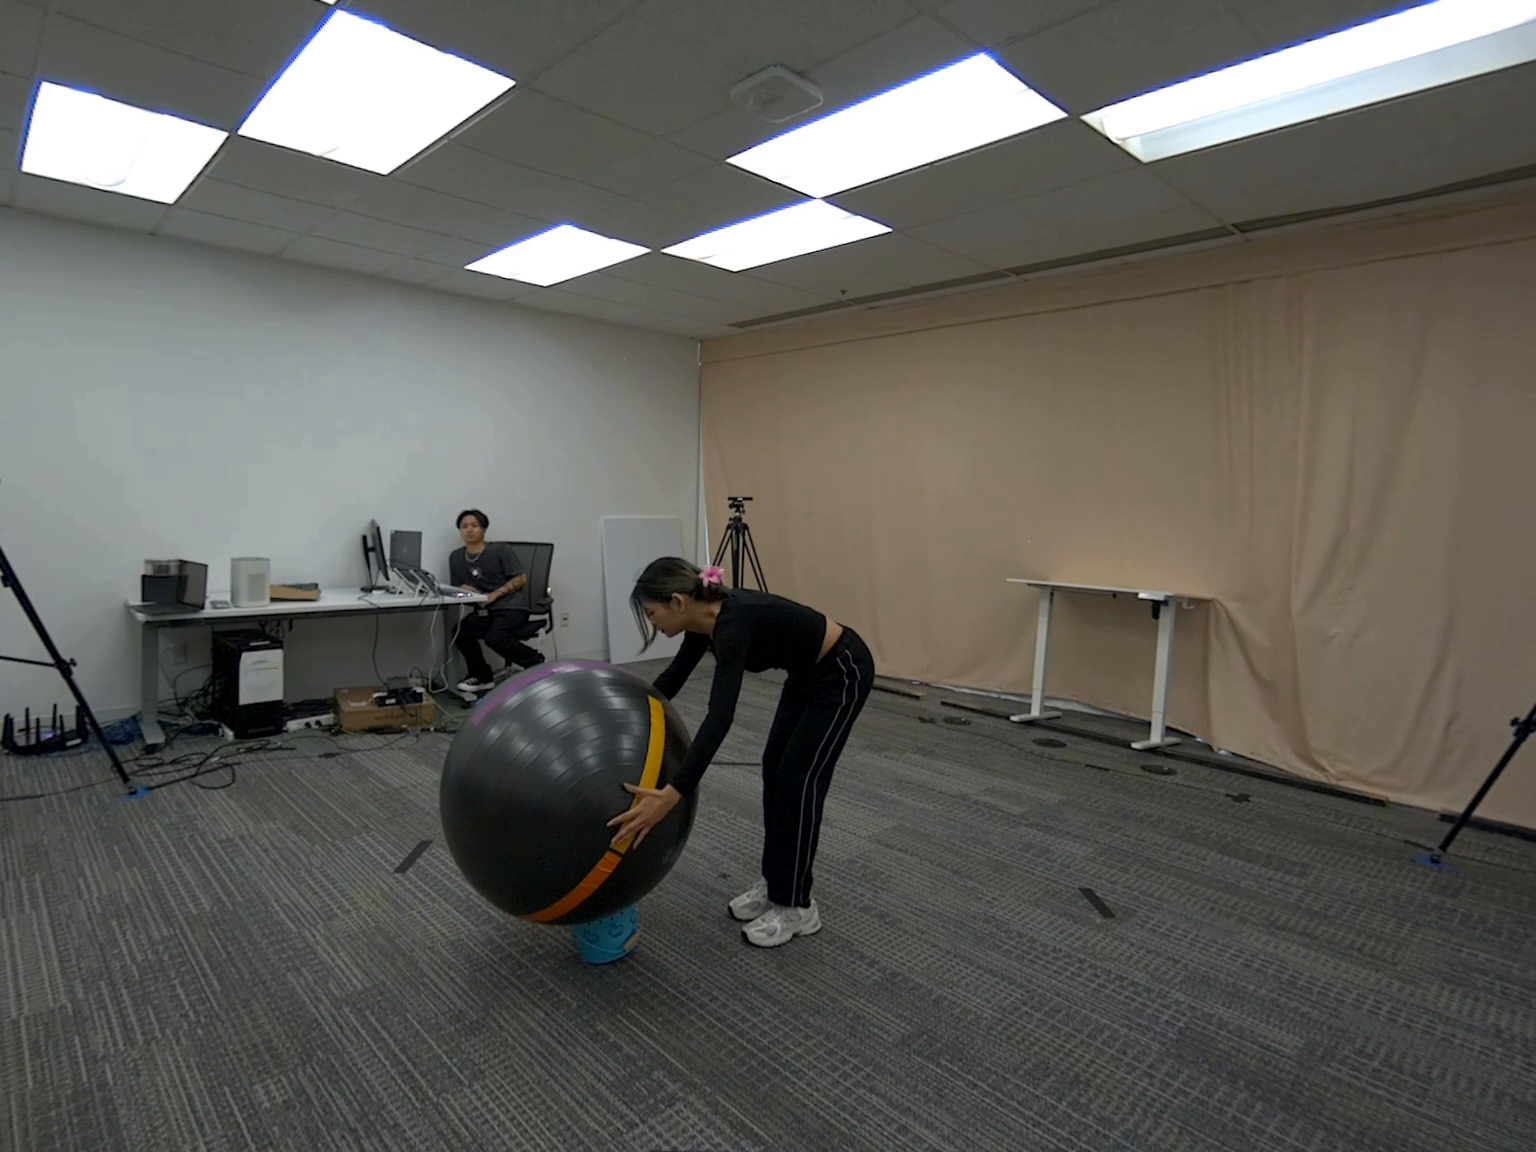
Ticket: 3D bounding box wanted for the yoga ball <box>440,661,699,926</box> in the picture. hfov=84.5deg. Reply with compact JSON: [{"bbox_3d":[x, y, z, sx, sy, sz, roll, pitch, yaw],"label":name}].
[{"bbox_3d":[-0.591,0.635,2.516,0.757,0.756,0.761,1,4,-1],"label":"yoga ball"}]
